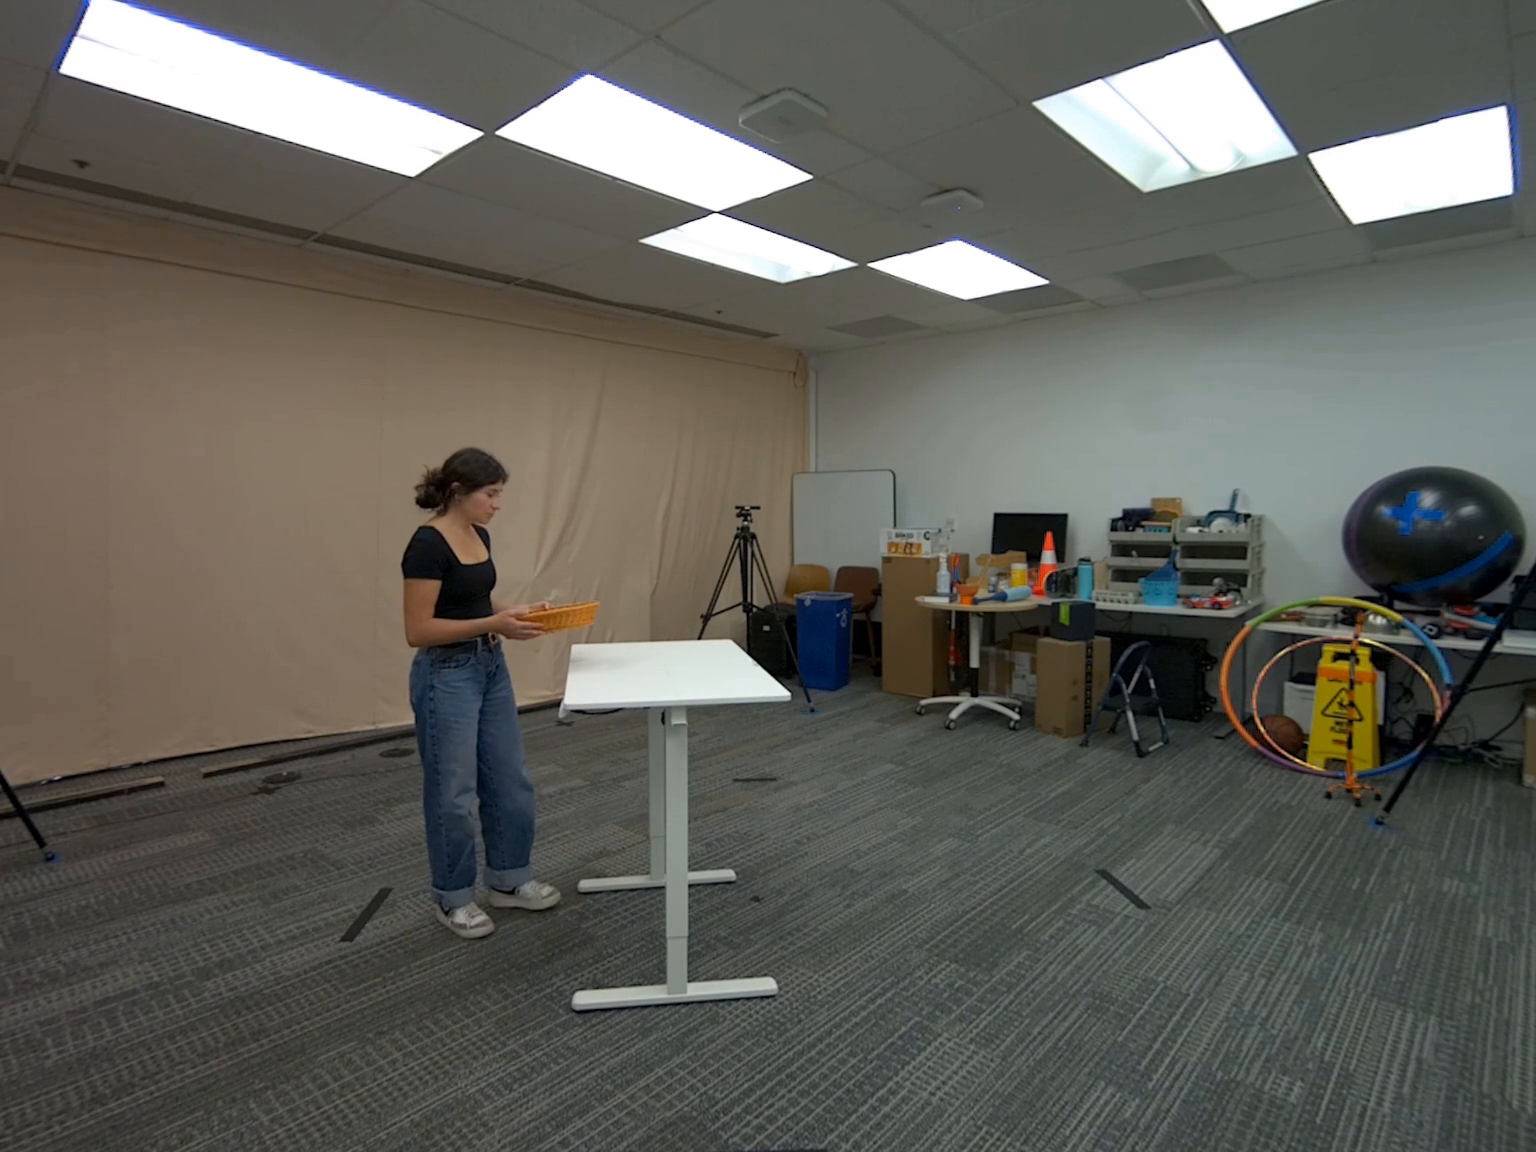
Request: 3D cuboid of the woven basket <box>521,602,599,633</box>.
[{"bbox_3d":[-0.723,0.150,2.755,0.358,0.073,0.247,-7,2,24],"label":"woven basket"}]
